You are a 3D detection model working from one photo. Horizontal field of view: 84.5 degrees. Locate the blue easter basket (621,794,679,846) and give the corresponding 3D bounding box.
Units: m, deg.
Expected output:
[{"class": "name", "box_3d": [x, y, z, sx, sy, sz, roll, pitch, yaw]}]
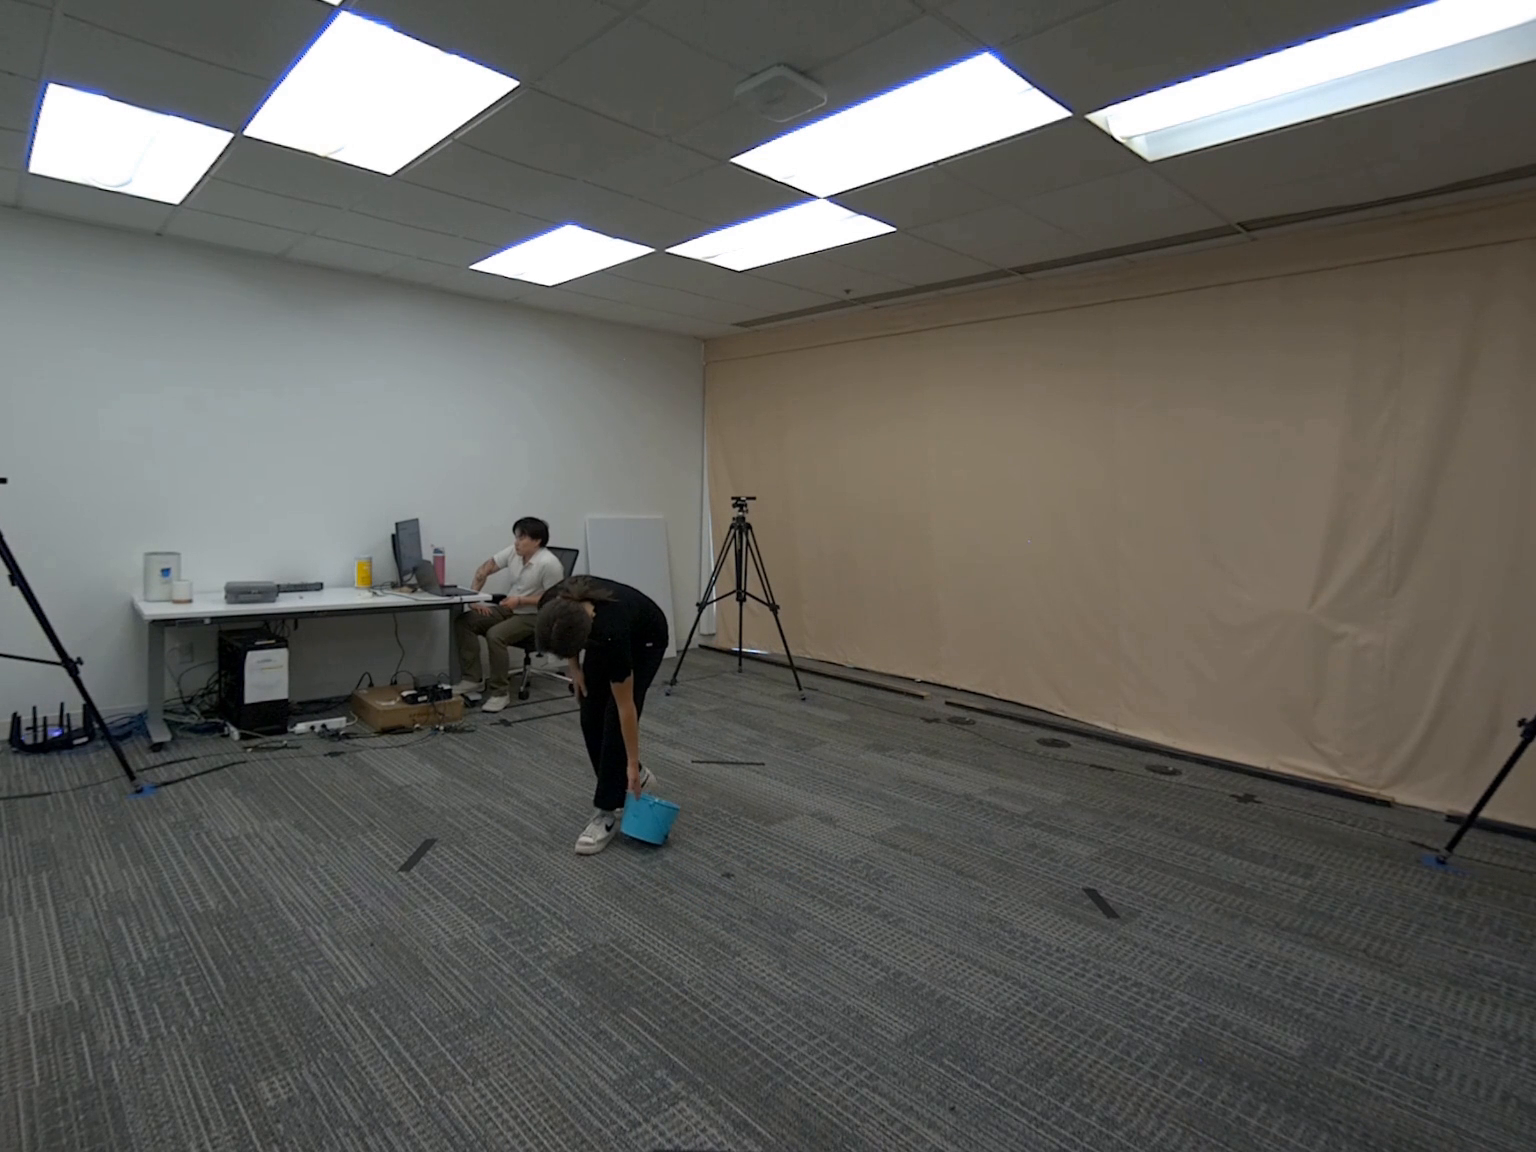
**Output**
[{"class": "blue easter basket", "box_3d": [-0.487, 0.972, 3.369, 0.244, 0.157, 0.241, 17, -12, 2]}]
